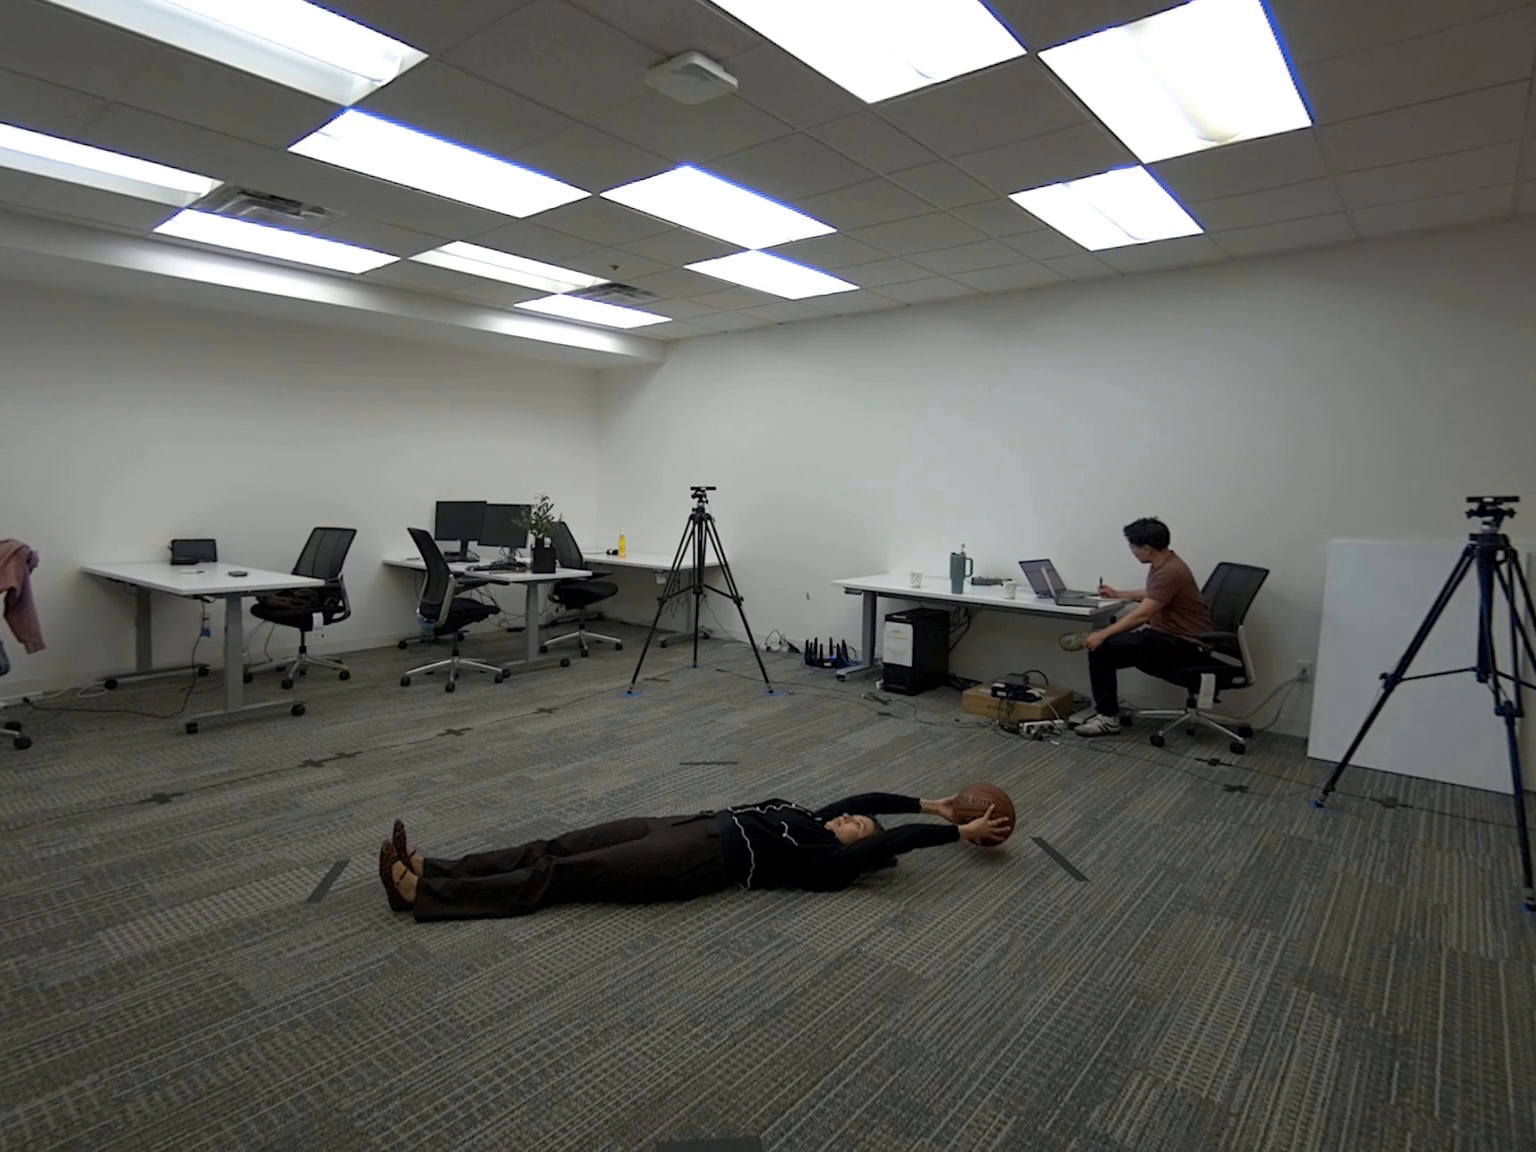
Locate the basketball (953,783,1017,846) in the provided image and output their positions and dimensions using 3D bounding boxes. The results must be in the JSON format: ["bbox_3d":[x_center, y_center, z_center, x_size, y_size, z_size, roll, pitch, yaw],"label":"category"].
[{"bbox_3d":[0.825,0.910,3.305,0.236,0.235,0.237,1,4,-2],"label":"basketball"}]
